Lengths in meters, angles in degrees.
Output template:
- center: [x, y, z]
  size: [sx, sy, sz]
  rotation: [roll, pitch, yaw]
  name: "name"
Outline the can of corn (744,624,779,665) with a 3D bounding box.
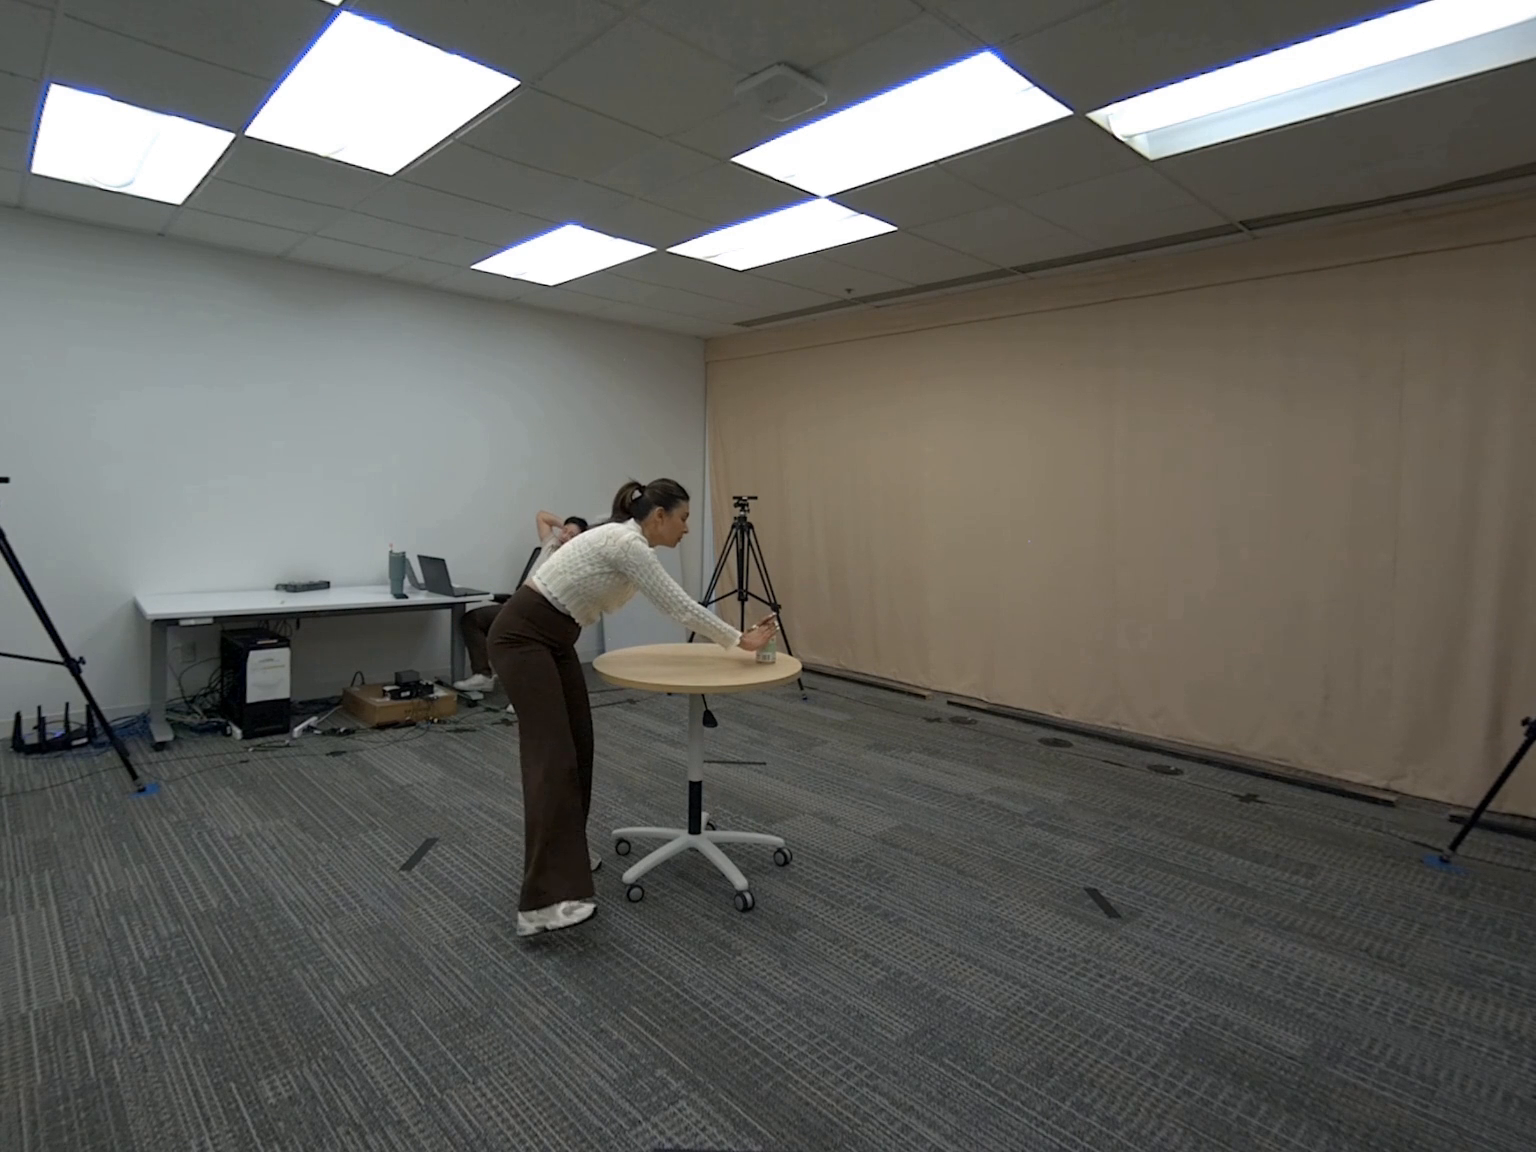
- center: [-0.016, 0.268, 3.111]
  size: [0.074, 0.111, 0.074]
  rotation: [-1, 3, -1]
  name: "can of corn"
